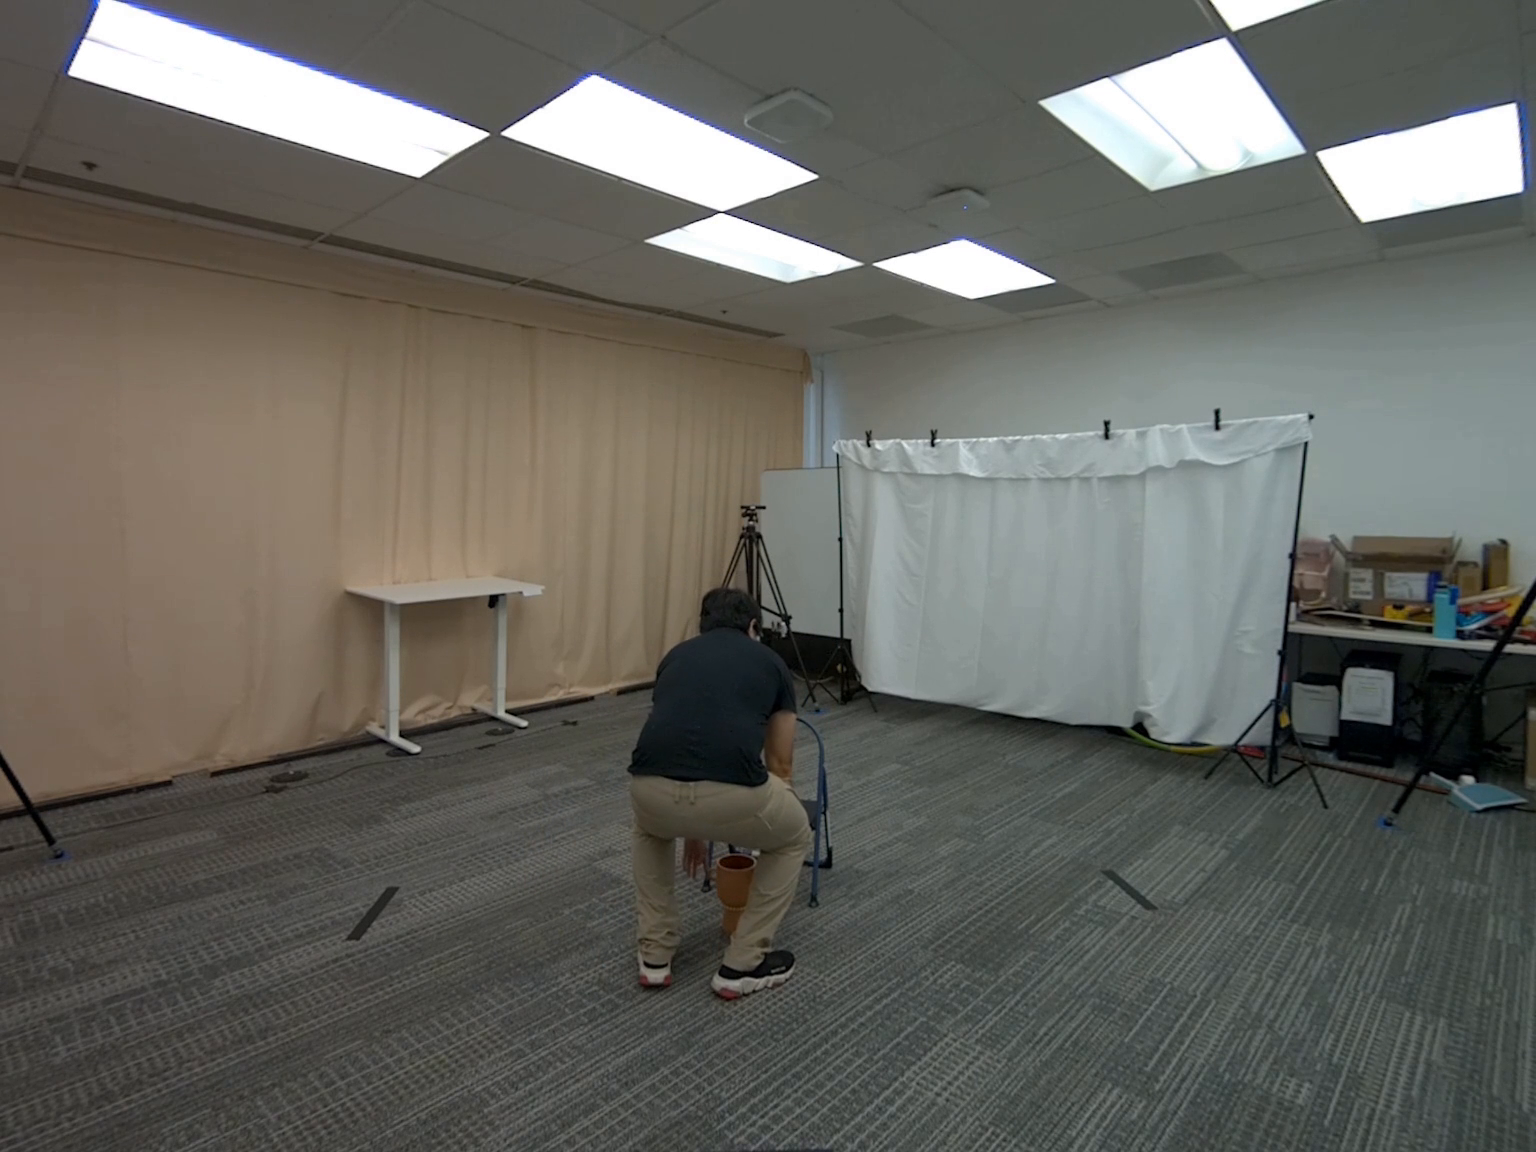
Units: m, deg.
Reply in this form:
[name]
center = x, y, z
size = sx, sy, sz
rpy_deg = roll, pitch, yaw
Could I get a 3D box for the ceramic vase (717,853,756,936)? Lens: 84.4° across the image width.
[ceramic vase]
center = -0.104, 1.044, 2.771
size = 0.130, 0.219, 0.164
rpy_deg = -4, 5, -43
